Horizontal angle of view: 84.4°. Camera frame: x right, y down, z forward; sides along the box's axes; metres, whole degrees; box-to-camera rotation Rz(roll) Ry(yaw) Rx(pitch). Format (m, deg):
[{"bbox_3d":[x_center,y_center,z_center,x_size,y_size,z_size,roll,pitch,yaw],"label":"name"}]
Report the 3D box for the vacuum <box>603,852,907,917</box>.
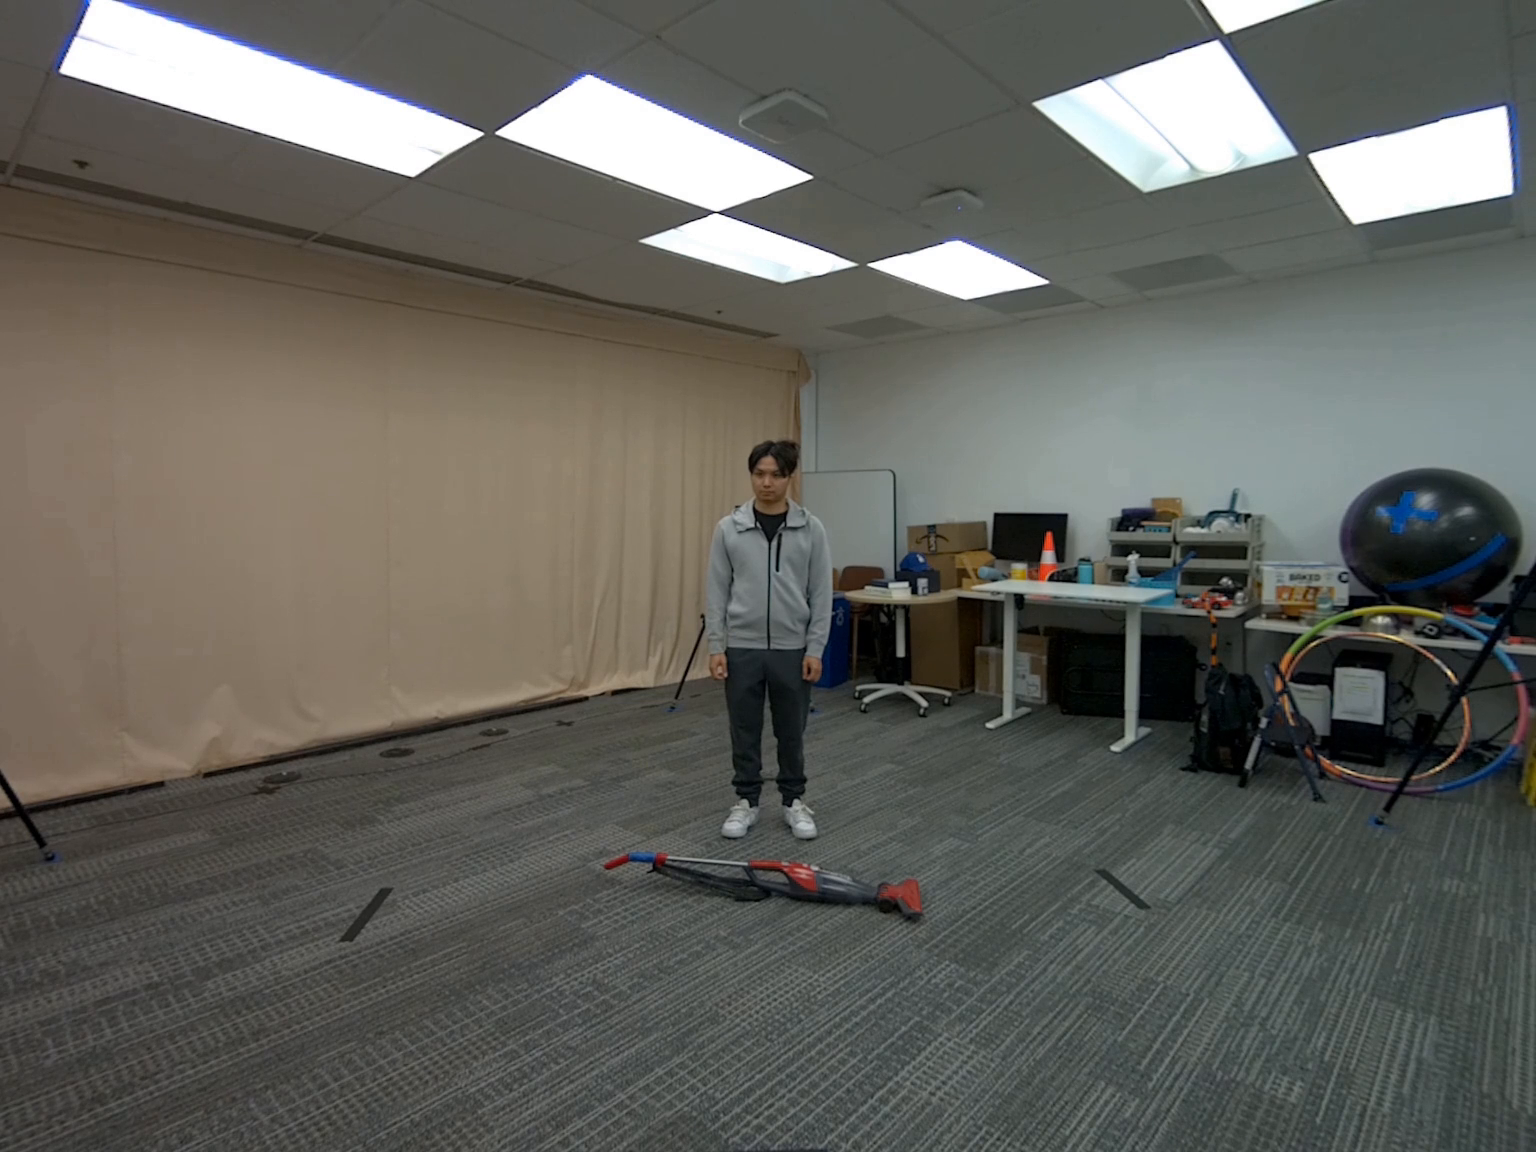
[{"bbox_3d":[-0.081,1.086,3.021,1.060,0.143,0.251,3,11,9],"label":"vacuum"}]
